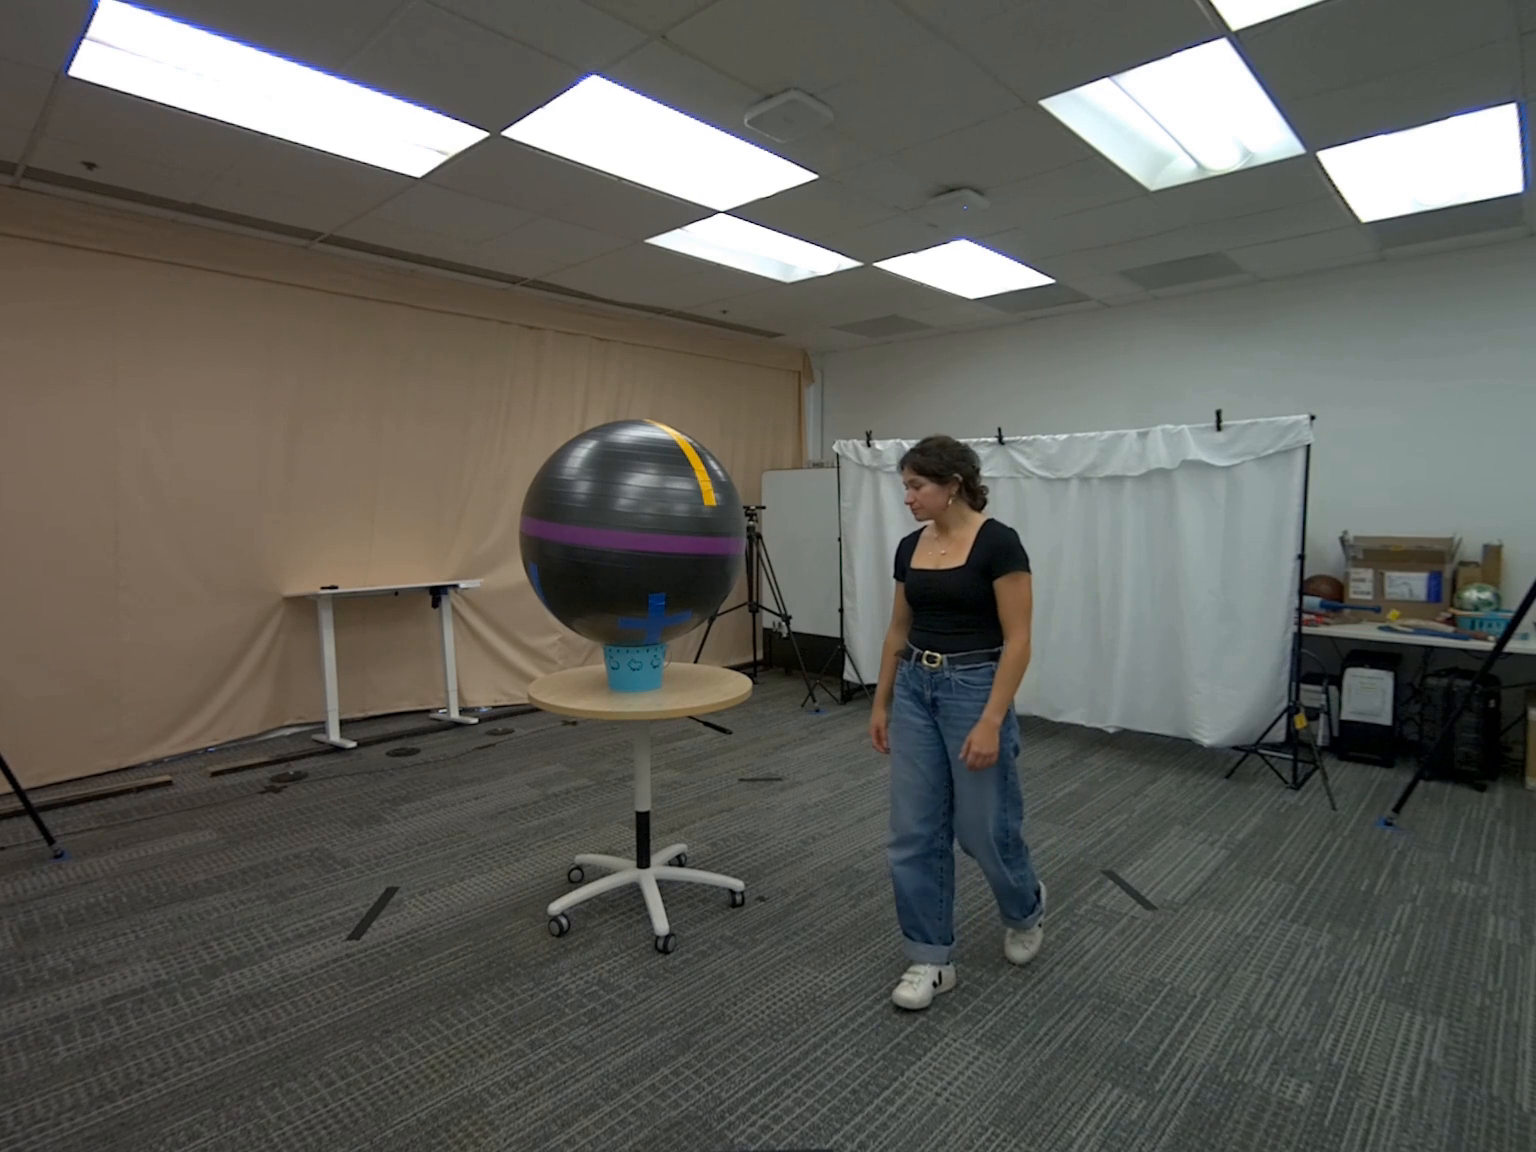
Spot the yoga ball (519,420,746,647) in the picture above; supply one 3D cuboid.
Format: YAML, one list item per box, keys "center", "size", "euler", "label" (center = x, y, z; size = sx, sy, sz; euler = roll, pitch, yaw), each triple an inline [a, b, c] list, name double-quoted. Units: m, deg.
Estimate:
- center: [-0.470, -0.137, 2.842]
  size: [0.757, 0.756, 0.760]
  euler: [0, 4, -2]
  label: "yoga ball"
